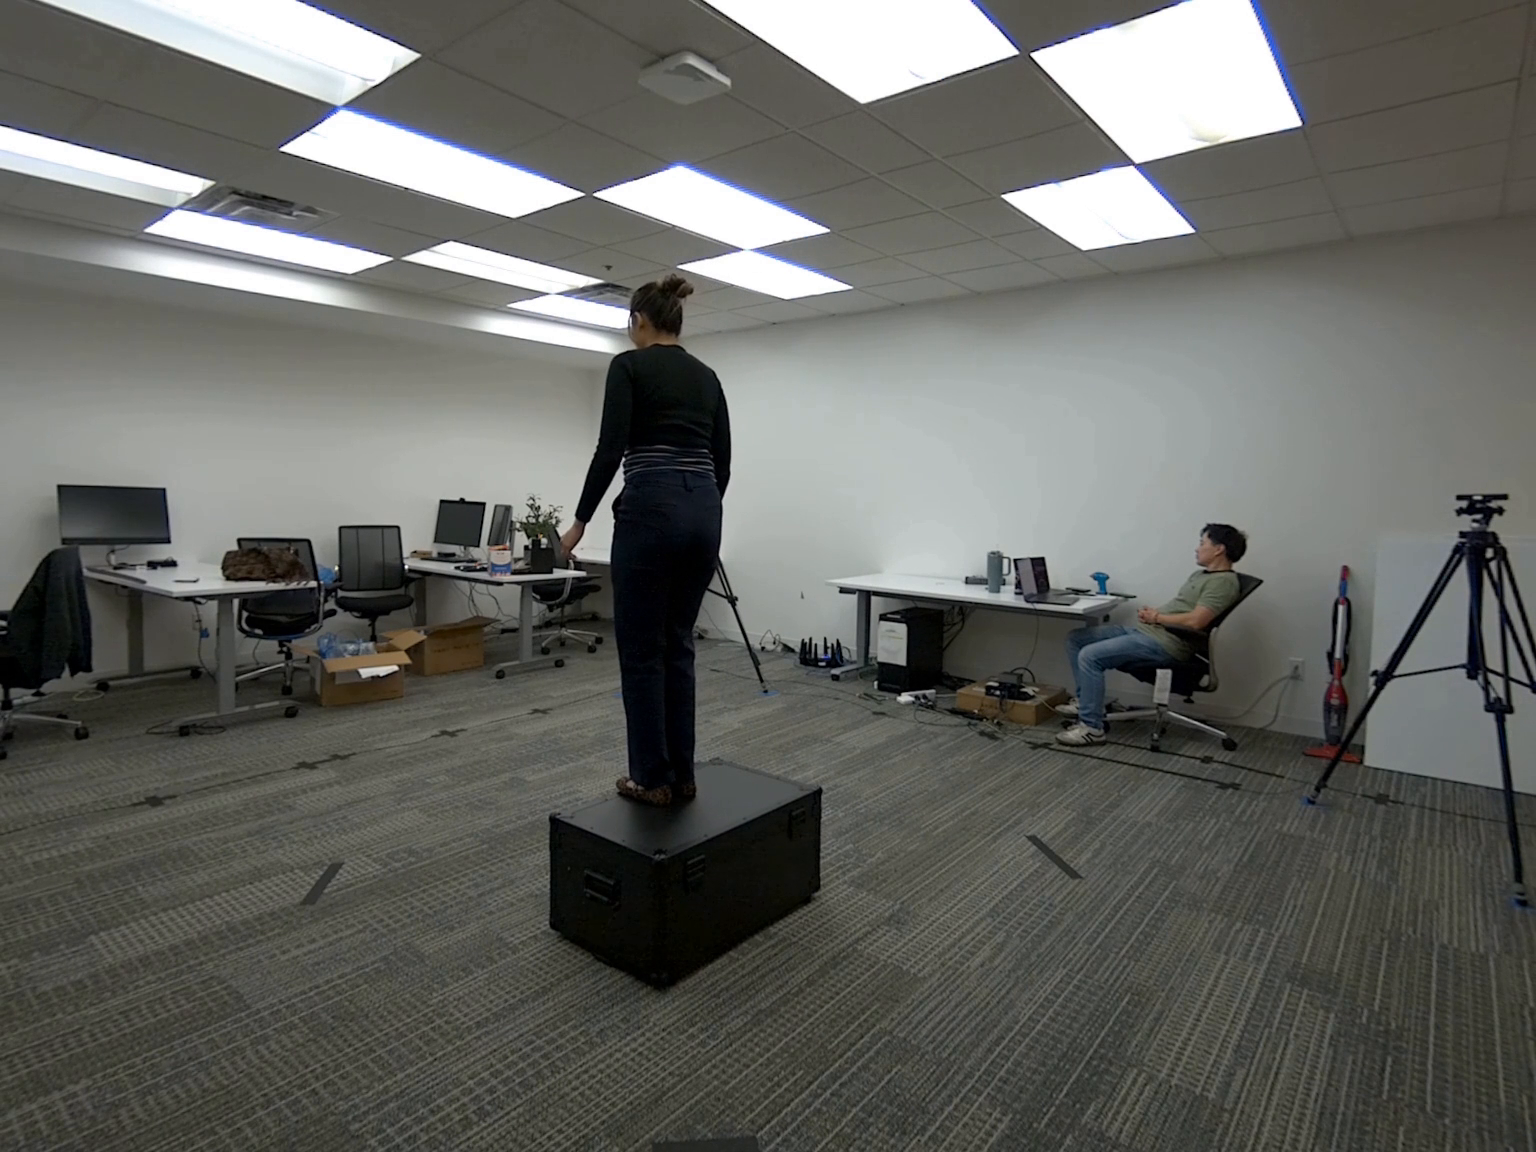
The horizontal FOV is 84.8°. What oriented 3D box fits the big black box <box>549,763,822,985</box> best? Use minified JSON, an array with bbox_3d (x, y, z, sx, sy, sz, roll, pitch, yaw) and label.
[{"bbox_3d":[-0.275,0.911,2.738,0.538,0.395,0.836,4,5,39],"label":"big black box"}]
